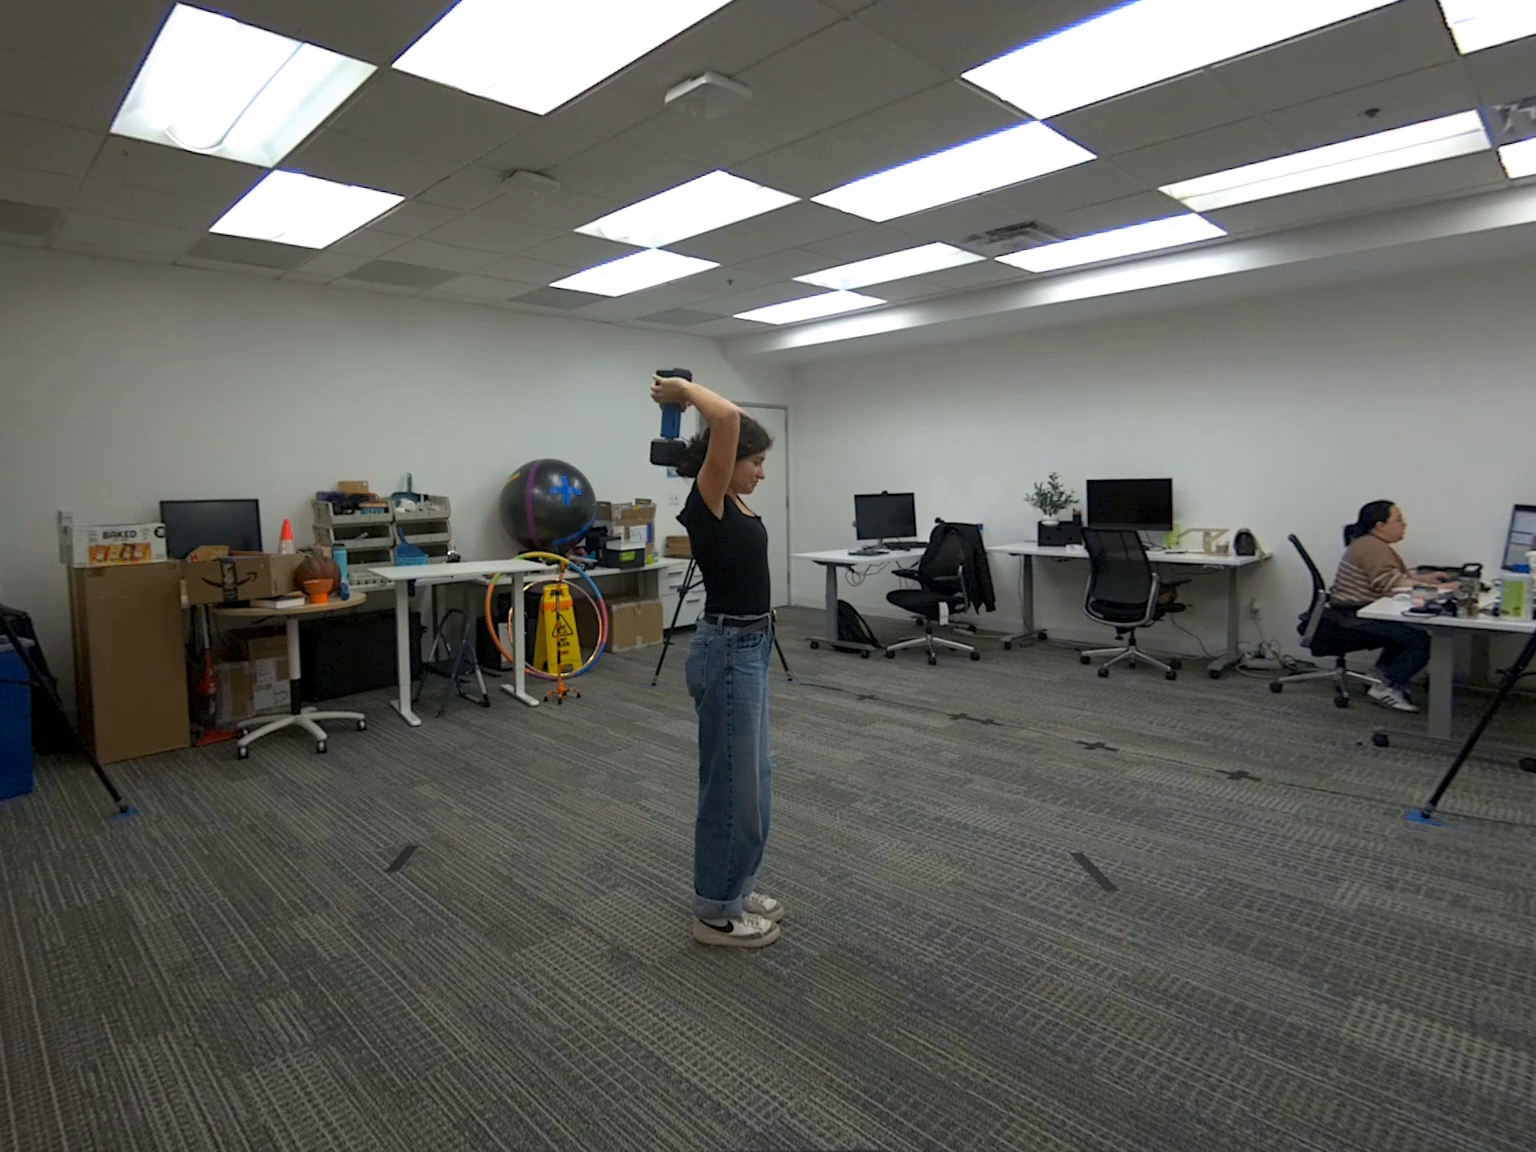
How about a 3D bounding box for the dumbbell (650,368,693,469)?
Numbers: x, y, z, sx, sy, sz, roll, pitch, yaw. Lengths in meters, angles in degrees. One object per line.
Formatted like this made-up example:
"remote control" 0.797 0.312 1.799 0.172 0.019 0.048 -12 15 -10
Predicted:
"dumbbell" -0.287 -0.479 2.580 0.127 0.292 0.106 11 7 35
